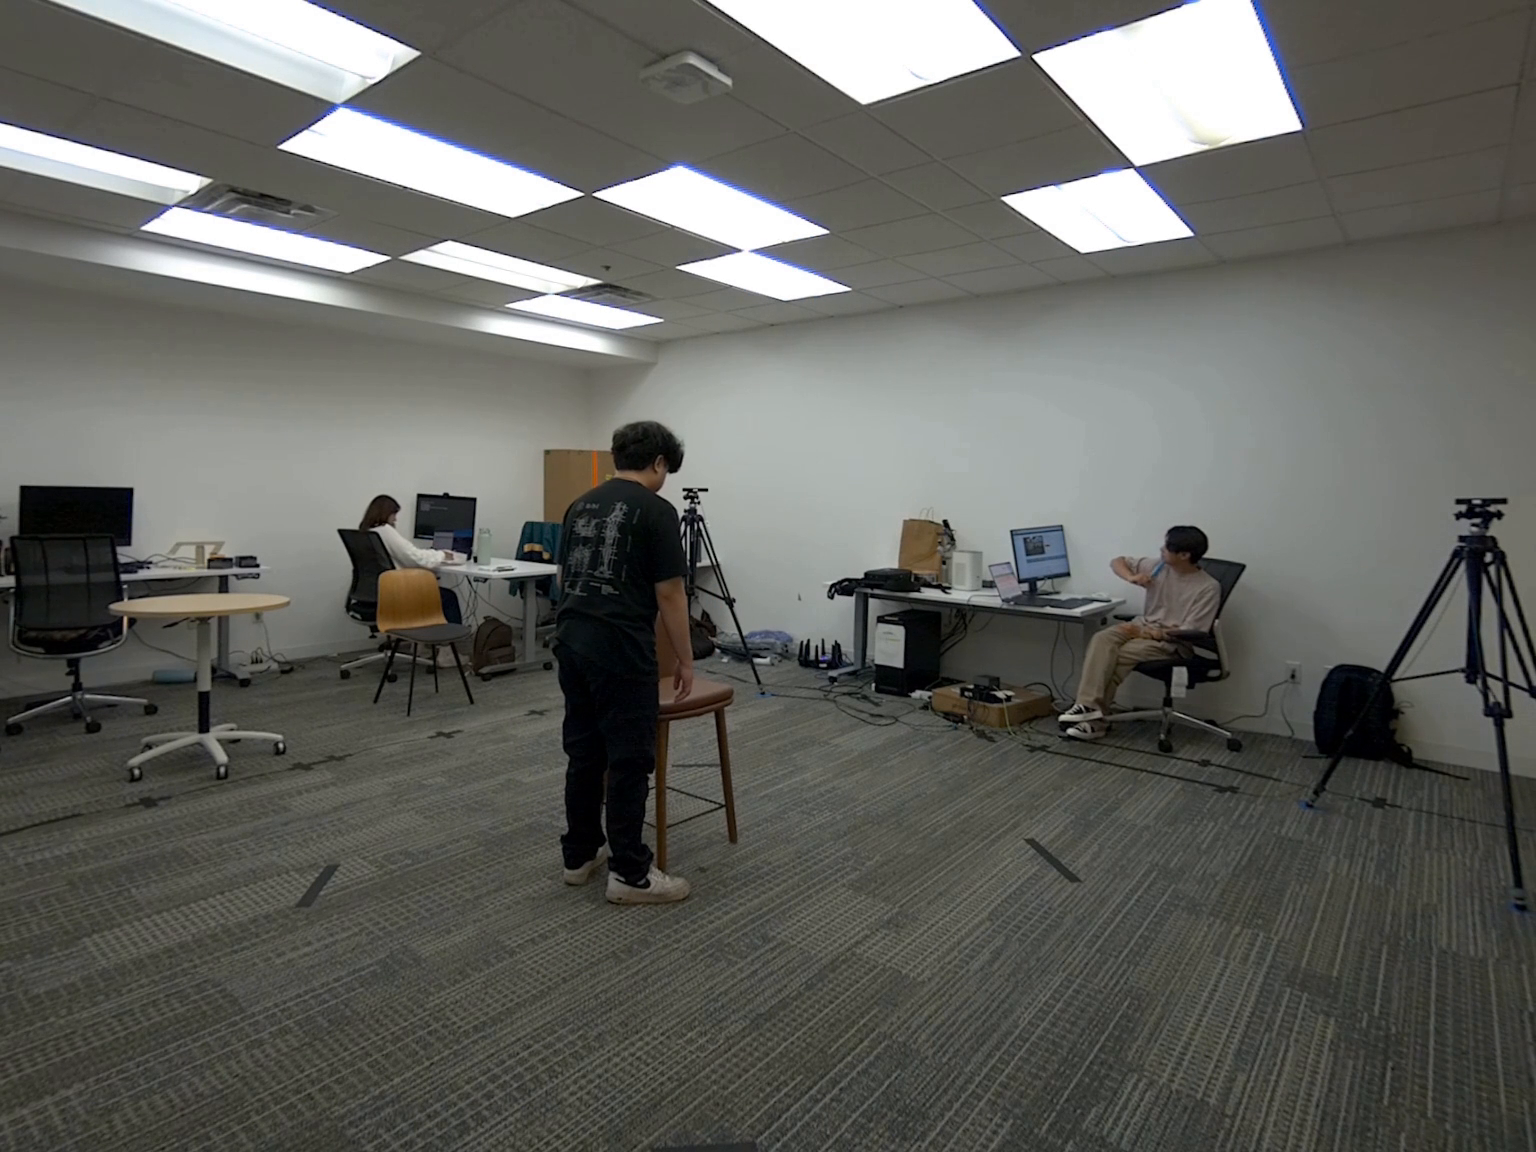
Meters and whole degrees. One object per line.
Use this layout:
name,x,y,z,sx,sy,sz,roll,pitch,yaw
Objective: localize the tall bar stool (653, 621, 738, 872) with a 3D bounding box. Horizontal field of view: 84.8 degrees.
tall bar stool,-0.427,0.604,3.355,0.482,0.889,0.442,0,1,44
